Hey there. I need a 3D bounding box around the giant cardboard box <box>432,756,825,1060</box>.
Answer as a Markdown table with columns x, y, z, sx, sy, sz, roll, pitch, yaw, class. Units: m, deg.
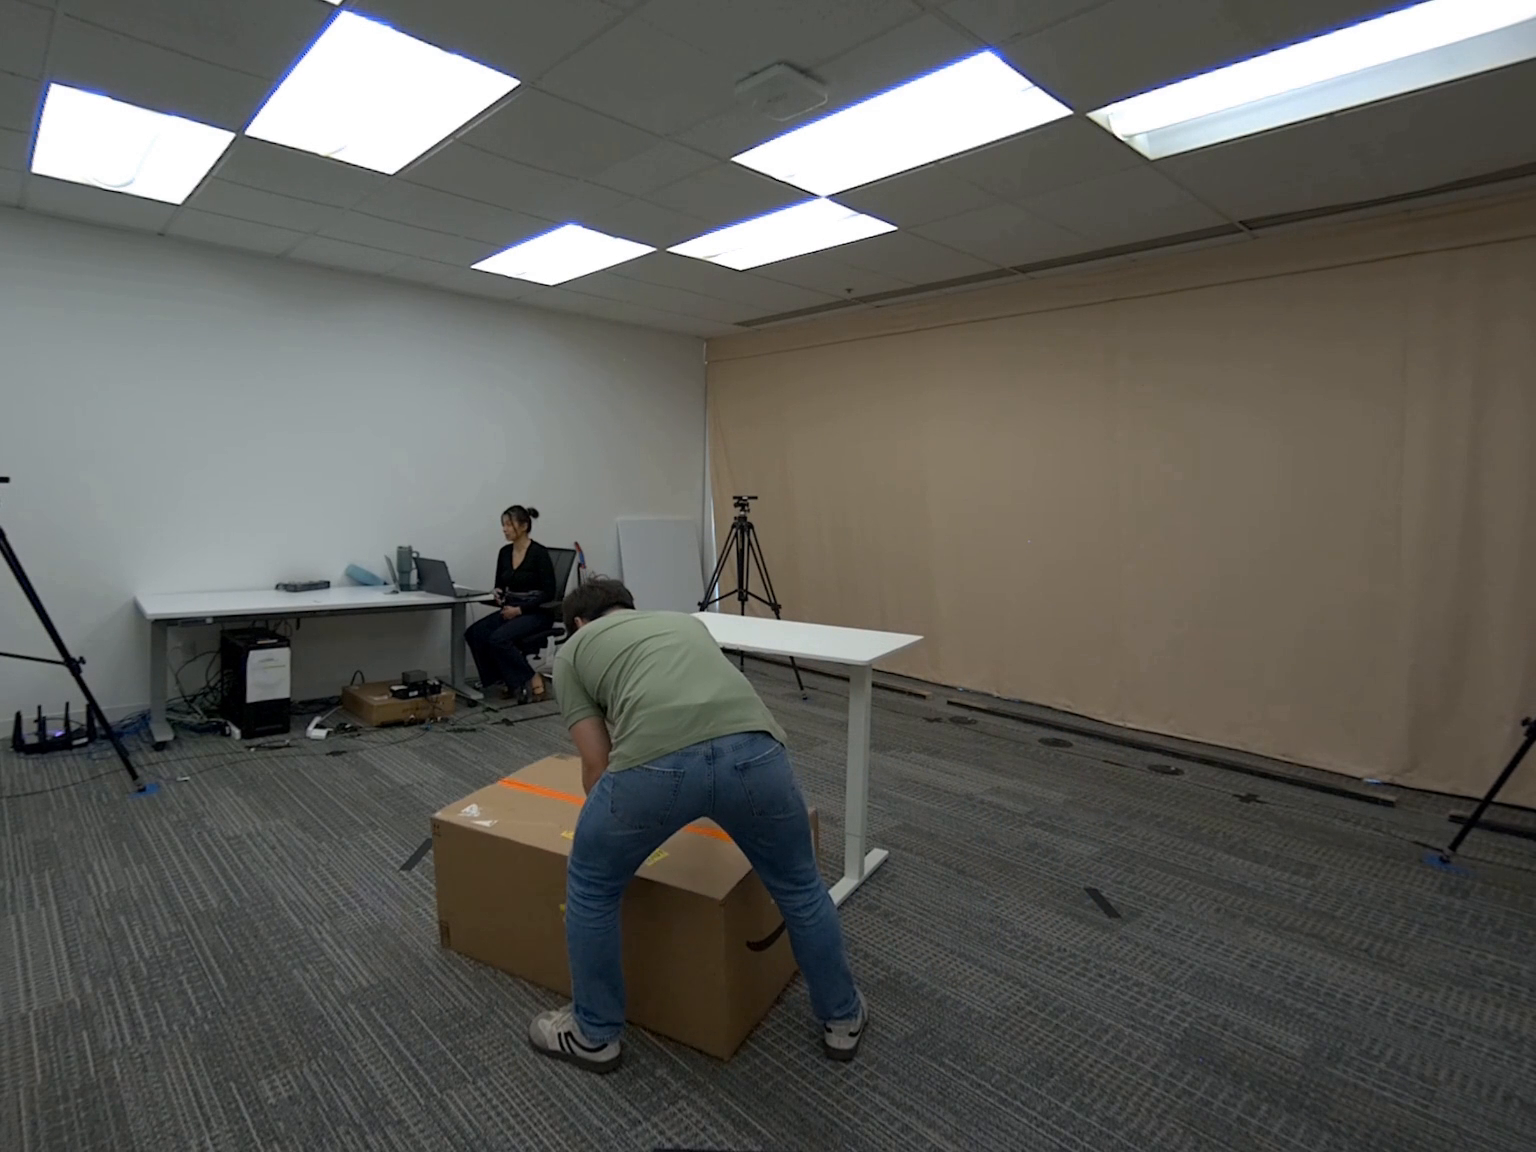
| x | y | z | sx | sy | sz | roll | pitch | yaw | class |
| --- | --- | --- | --- | --- | --- | --- | --- | --- | --- |
| -0.432 | 0.907 | 2.545 | 1.048 | 0.423 | 0.569 | 4 | 10 | 29 | giant cardboard box |
